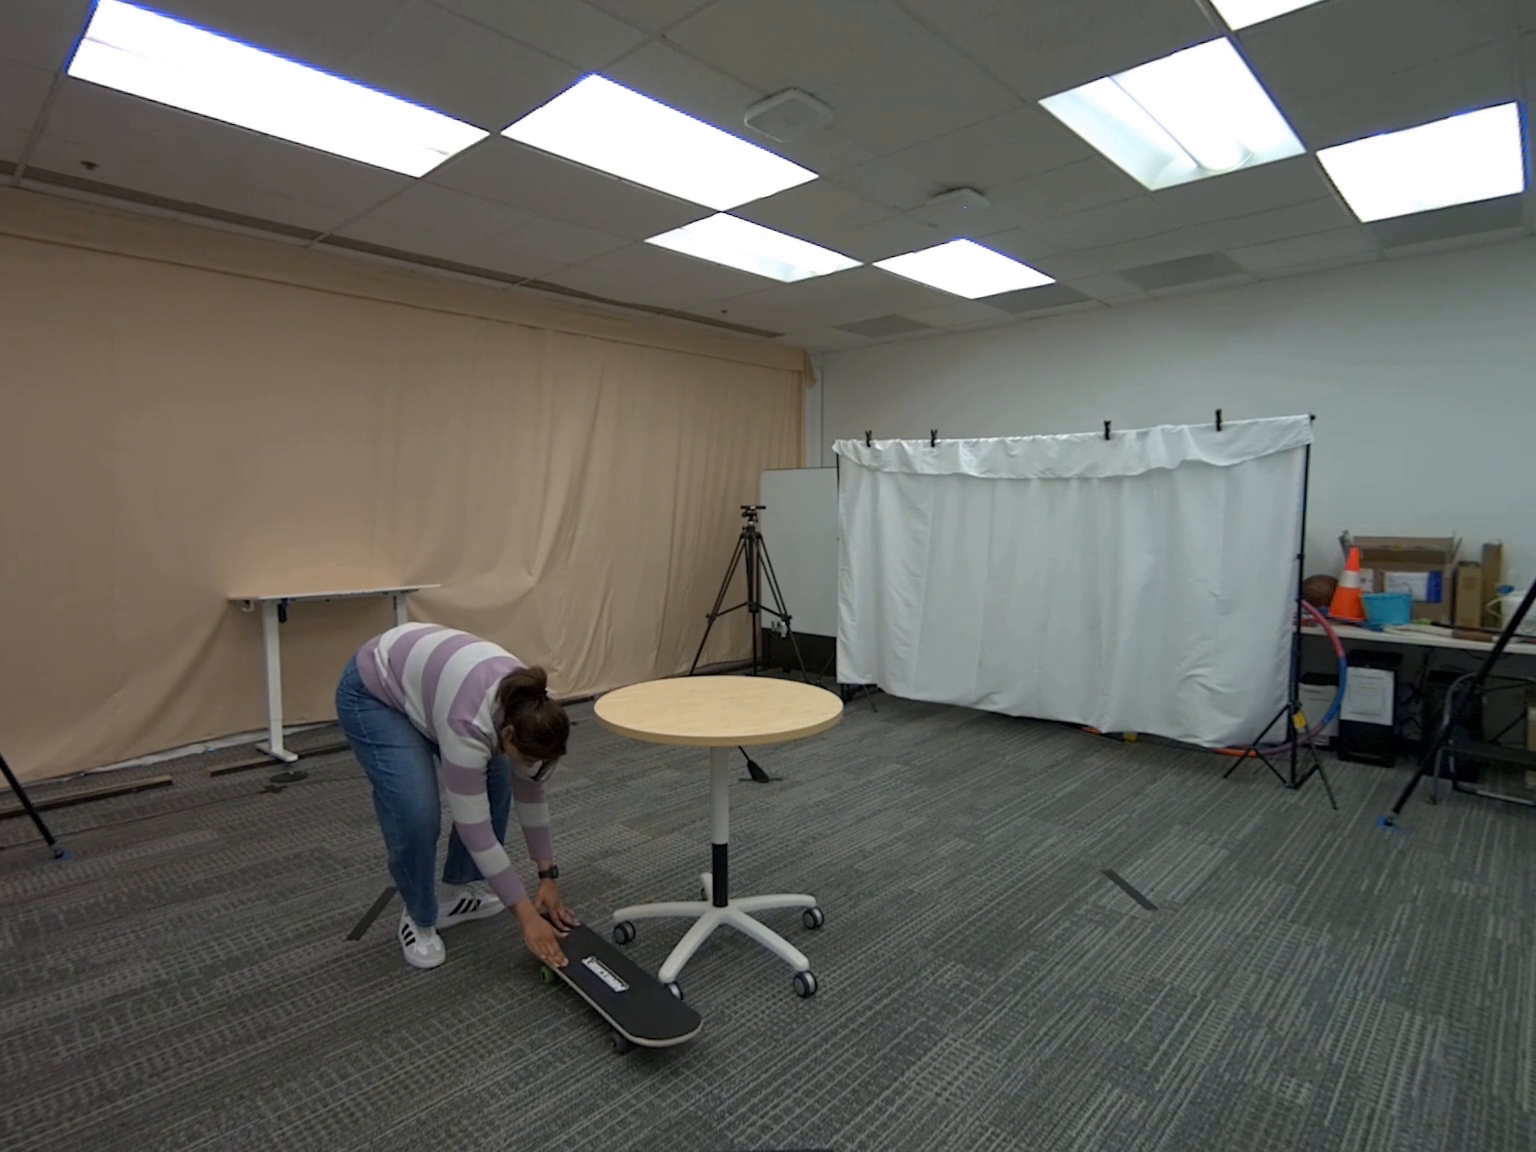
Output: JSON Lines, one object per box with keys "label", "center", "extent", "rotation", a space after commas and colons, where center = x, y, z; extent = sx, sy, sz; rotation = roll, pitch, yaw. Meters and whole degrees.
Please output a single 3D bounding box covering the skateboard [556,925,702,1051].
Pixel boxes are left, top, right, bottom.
{"label": "skateboard", "center": [-0.452, 1.141, 2.353], "extent": [0.188, 0.110, 0.811], "rotation": [-4, 6, -40]}
